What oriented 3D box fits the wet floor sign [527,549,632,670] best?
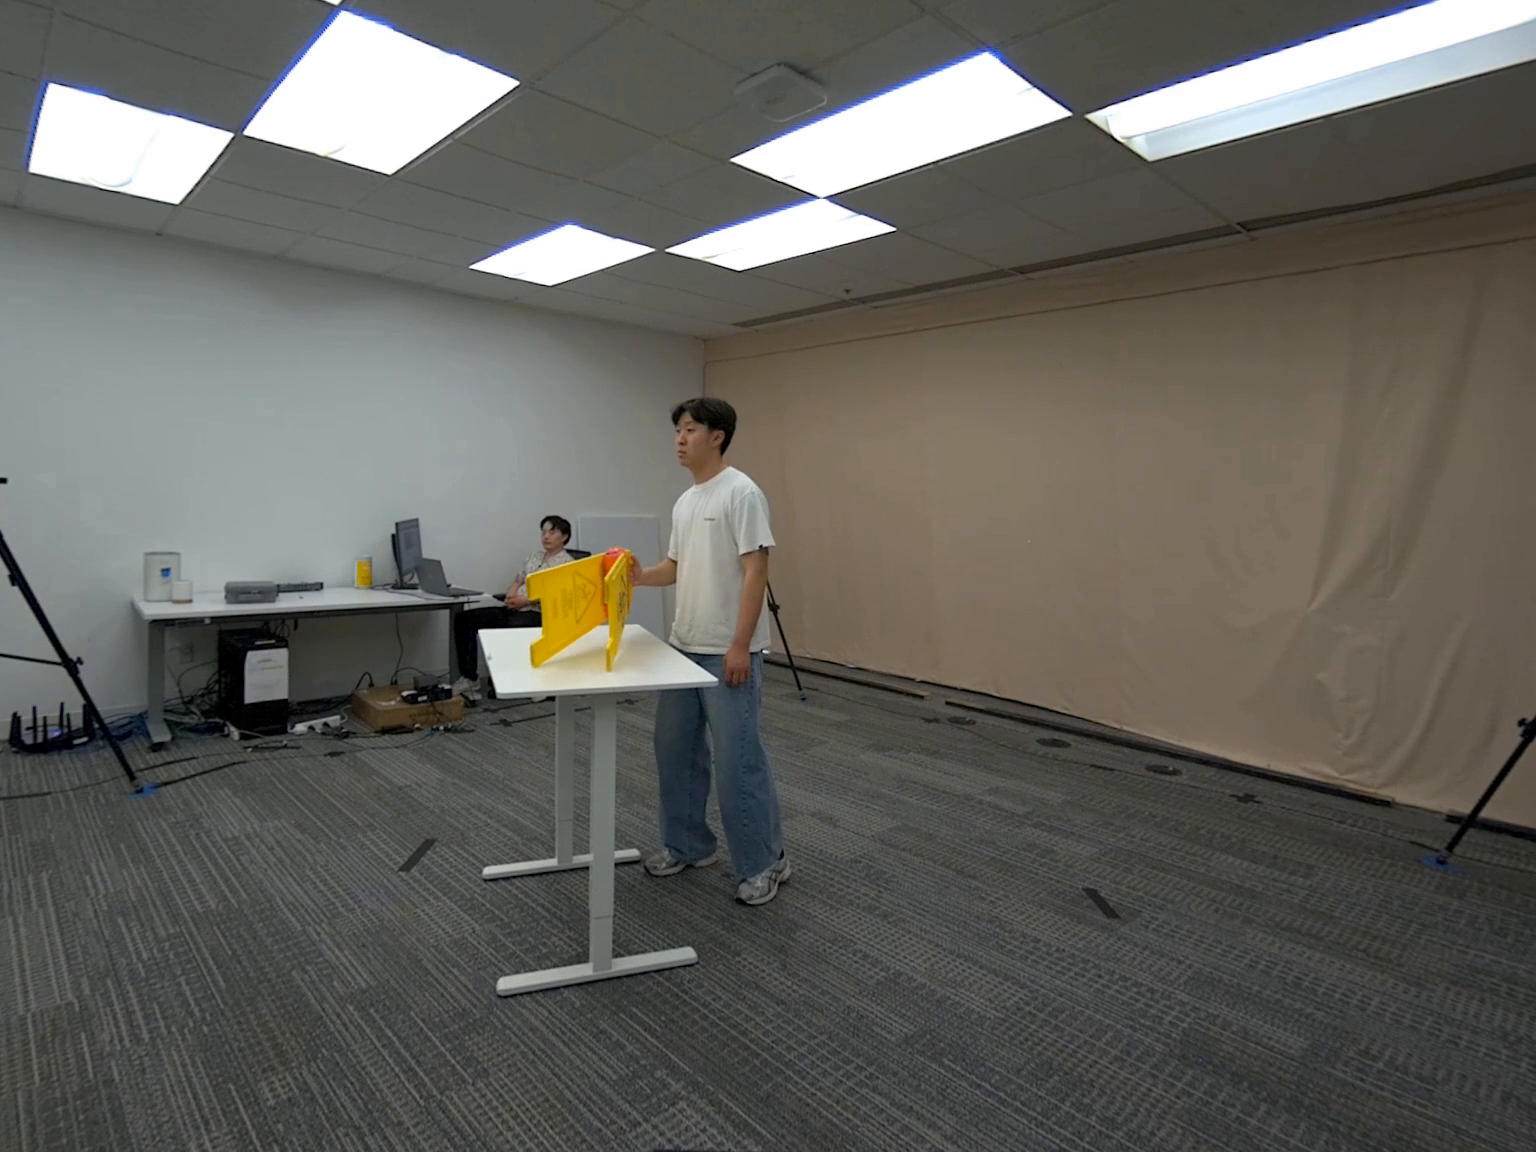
[{"bbox_3d":[-0.544,0.075,2.732,0.292,0.280,0.646,2,12,8],"label":"wet floor sign"}]
